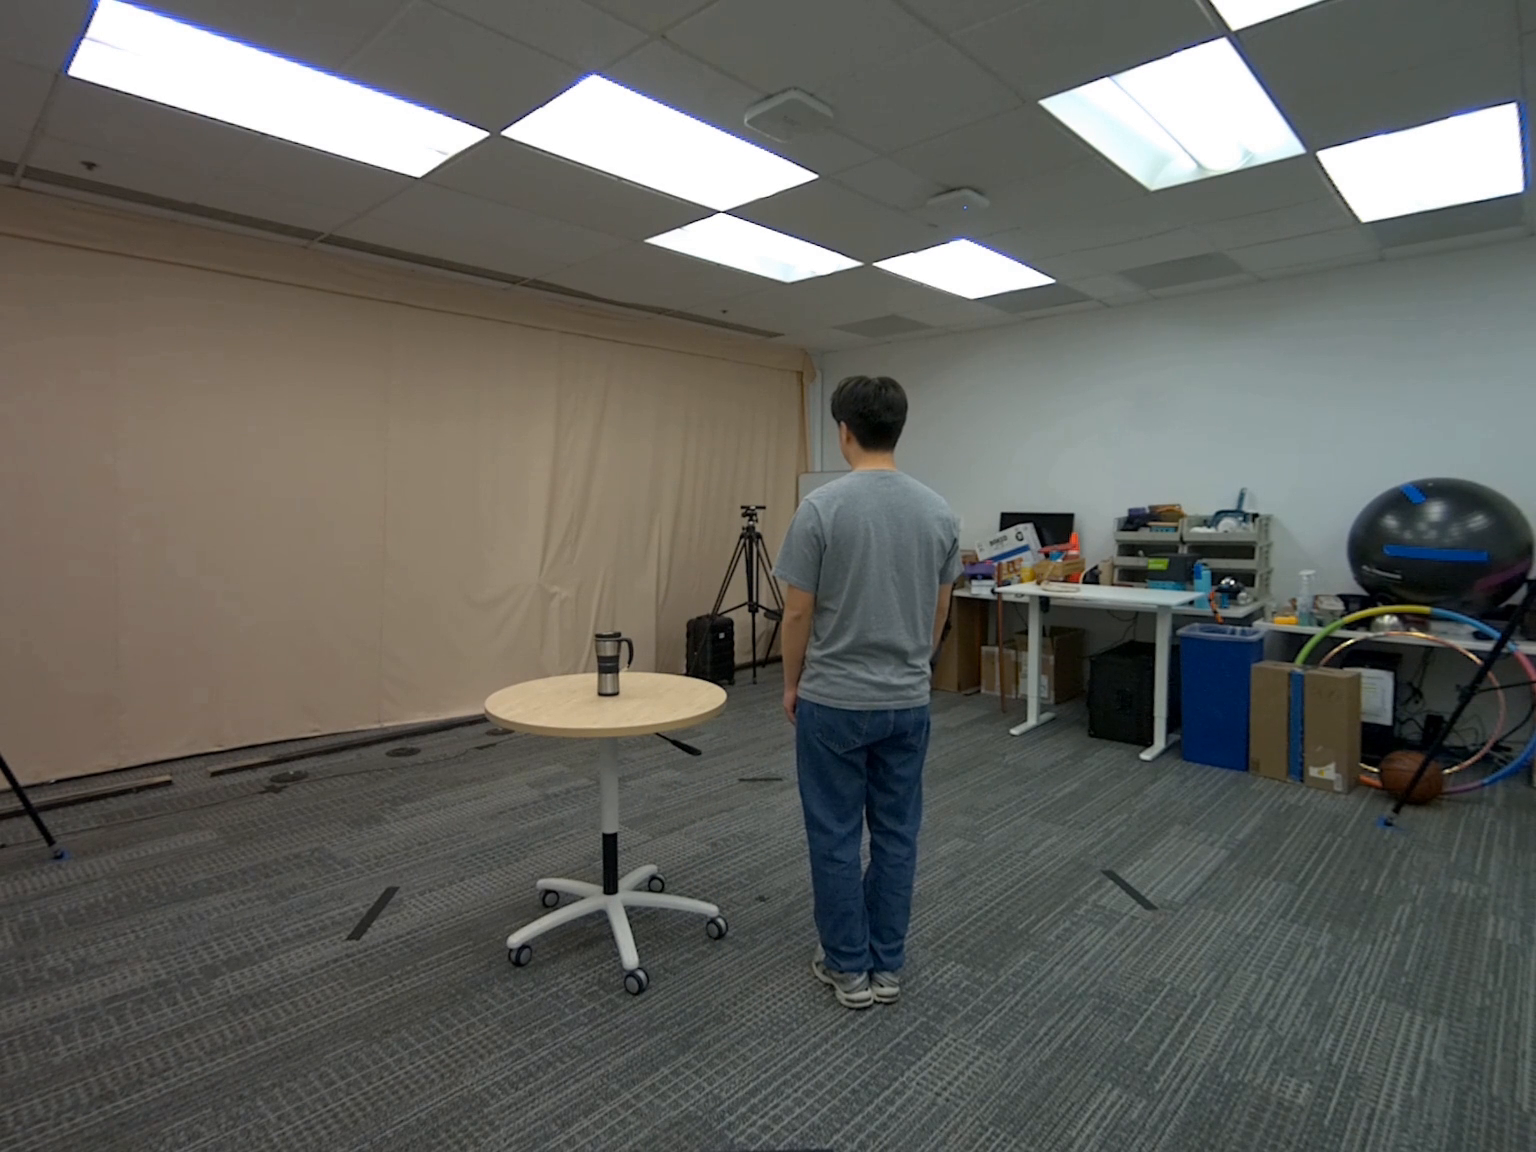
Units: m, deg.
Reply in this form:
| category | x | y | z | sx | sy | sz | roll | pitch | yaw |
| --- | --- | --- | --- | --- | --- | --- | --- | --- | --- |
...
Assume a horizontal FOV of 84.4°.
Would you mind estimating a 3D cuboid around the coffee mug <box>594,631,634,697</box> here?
| category | x | y | z | sx | sy | sz | roll | pitch | yaw |
| --- | --- | --- | --- | --- | --- | --- | --- | --- | --- |
| coffee mug | -0.500 | 0.284 | 2.710 | 0.125 | 0.203 | 0.085 | -3 | -3 | 34 |
